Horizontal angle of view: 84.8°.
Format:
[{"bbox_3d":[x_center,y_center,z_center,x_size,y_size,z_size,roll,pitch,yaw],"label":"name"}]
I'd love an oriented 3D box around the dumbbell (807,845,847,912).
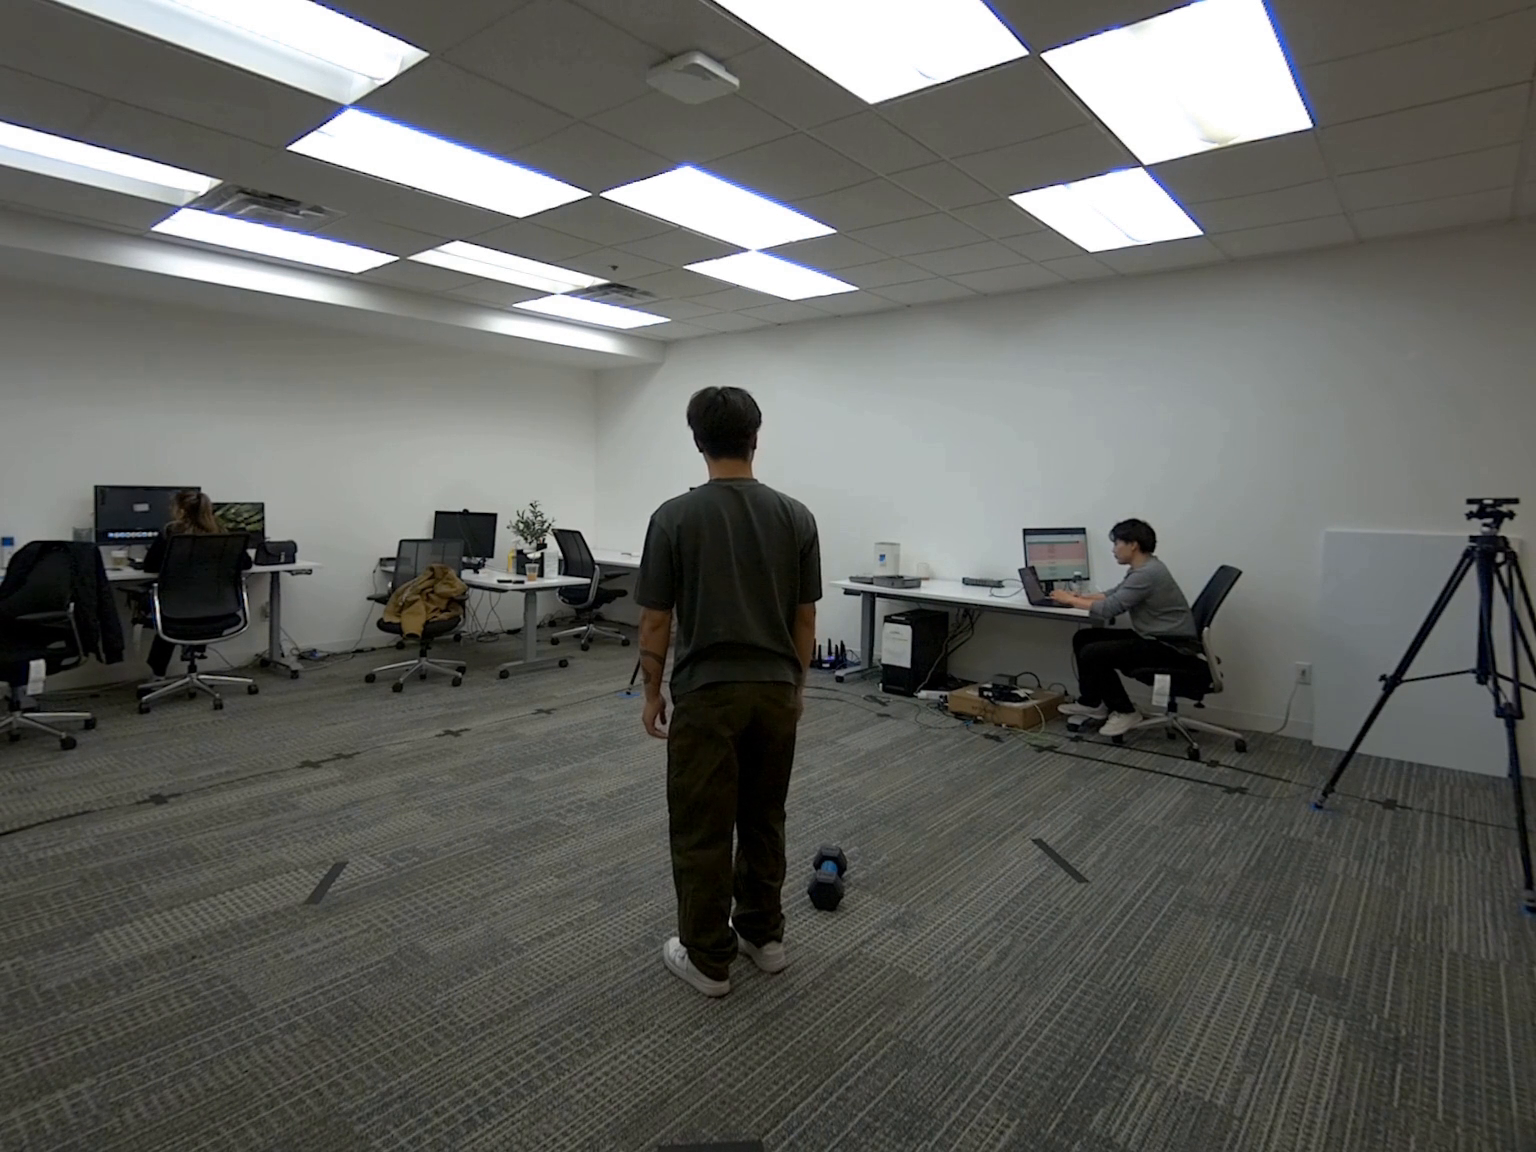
[{"bbox_3d":[0.200,1.035,2.951,0.124,0.108,0.291,0,4,8],"label":"dumbbell"}]
